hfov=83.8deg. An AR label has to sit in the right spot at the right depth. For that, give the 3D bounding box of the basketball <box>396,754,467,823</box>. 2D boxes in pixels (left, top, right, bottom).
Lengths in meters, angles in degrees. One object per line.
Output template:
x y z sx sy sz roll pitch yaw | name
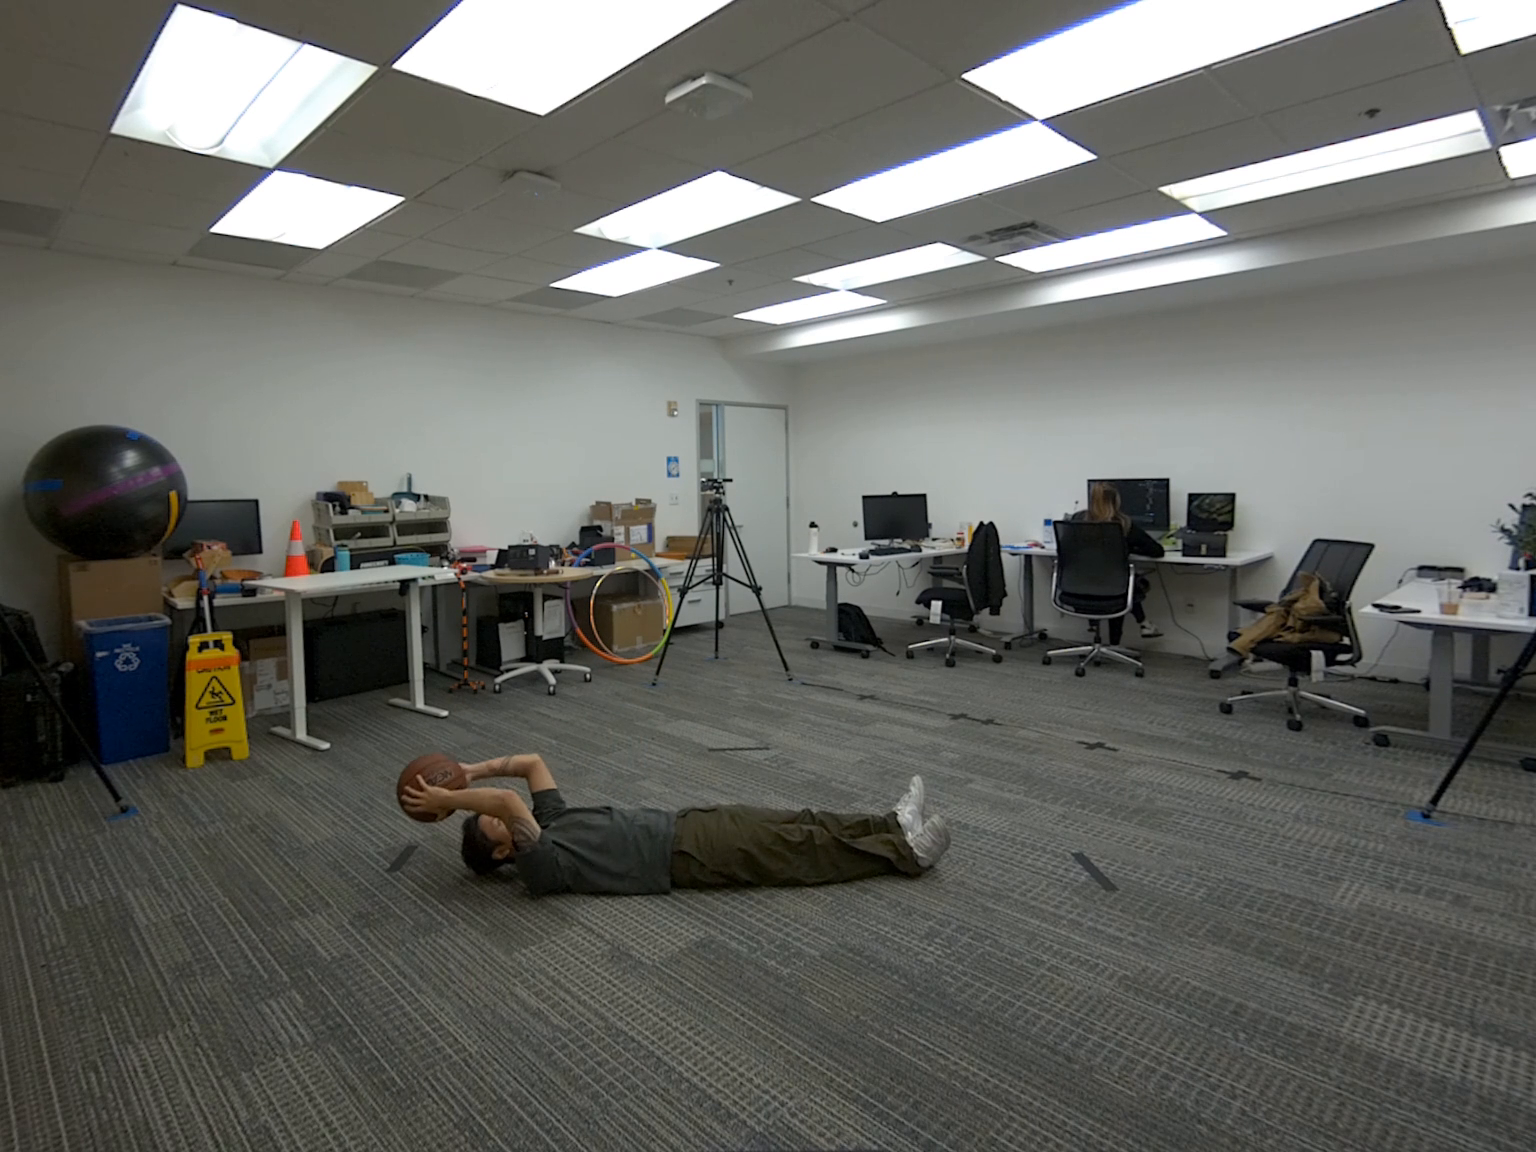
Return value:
-1.191 0.752 3.055 0.236 0.235 0.237 -1 5 -2 | basketball
